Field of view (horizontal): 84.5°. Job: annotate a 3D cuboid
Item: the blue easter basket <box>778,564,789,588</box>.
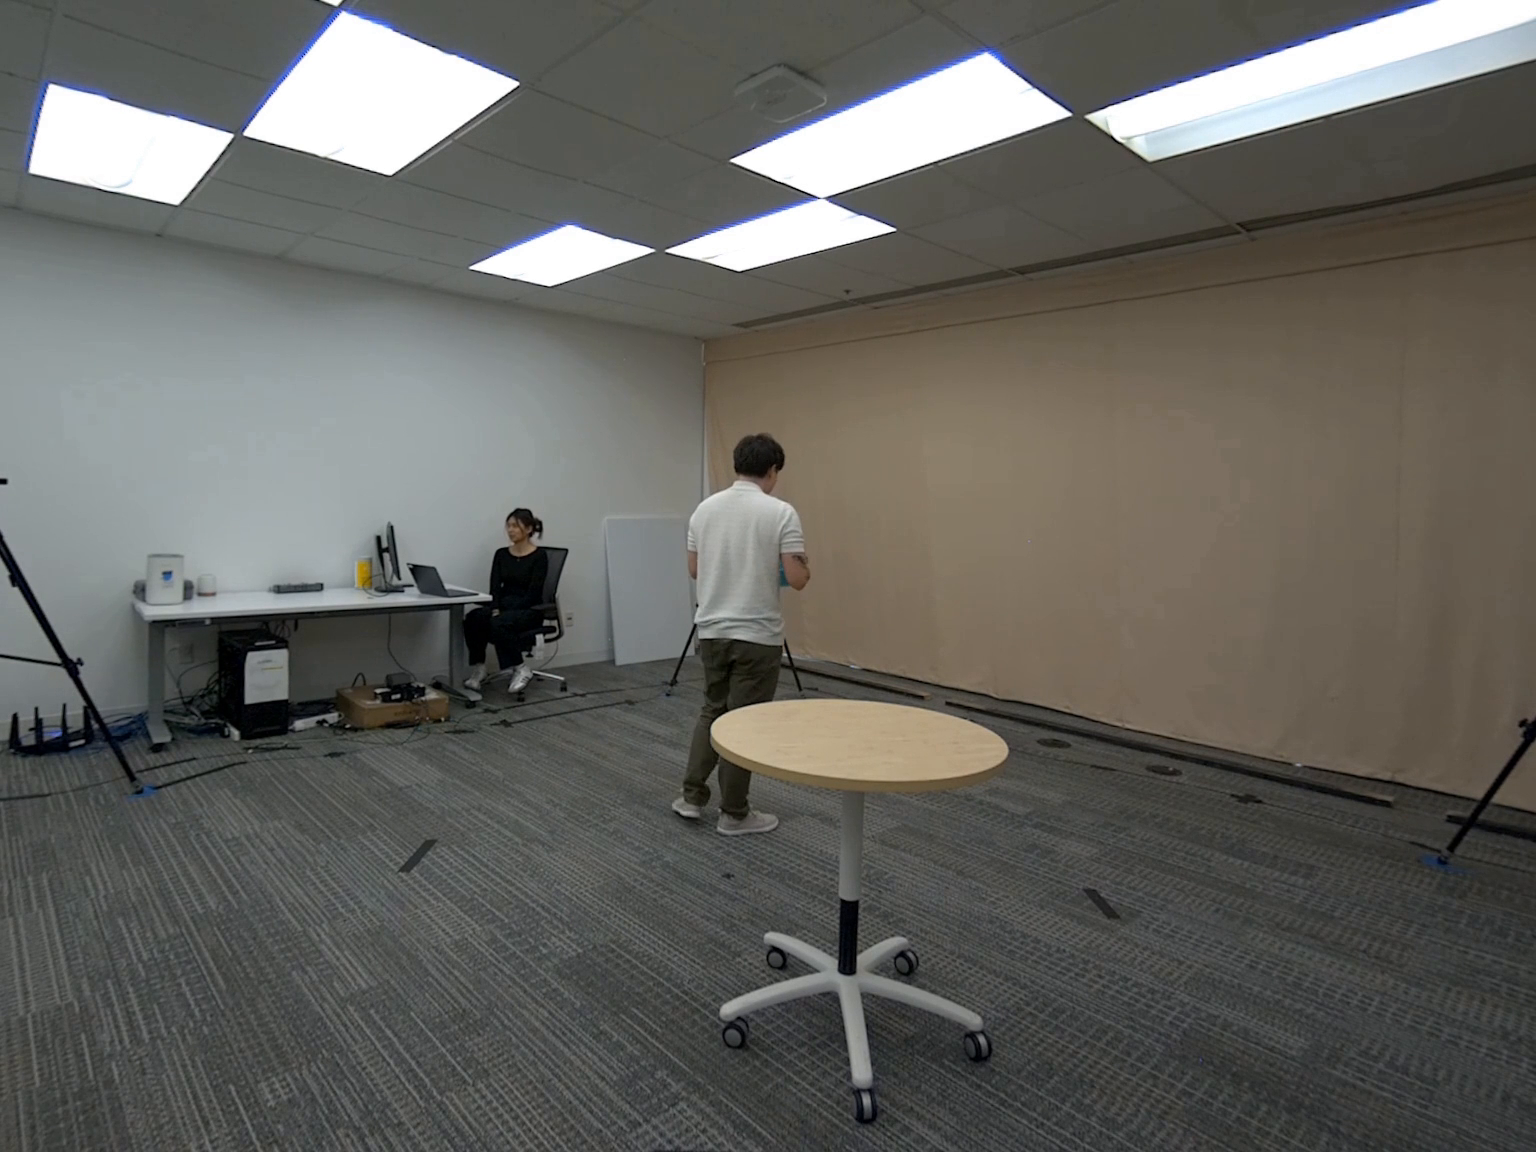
[{"bbox_3d":[0.038,-0.035,3.720,0.243,0.155,0.244,1,5,-1],"label":"blue easter basket"}]
